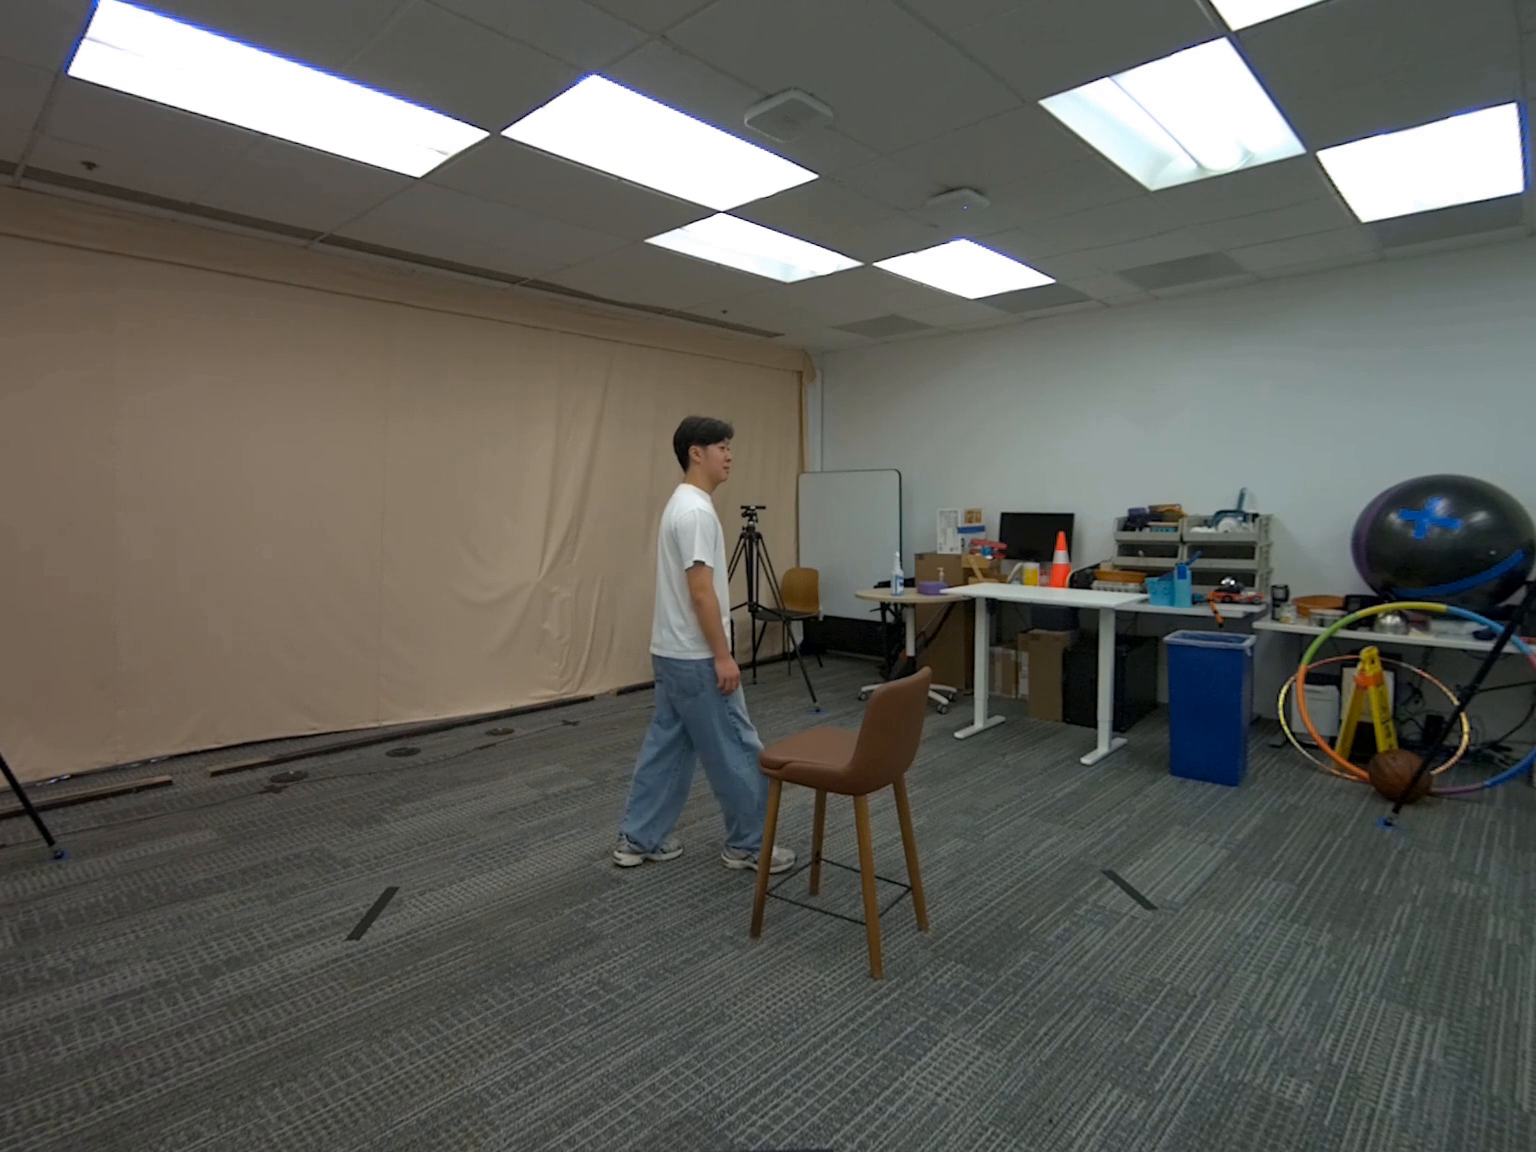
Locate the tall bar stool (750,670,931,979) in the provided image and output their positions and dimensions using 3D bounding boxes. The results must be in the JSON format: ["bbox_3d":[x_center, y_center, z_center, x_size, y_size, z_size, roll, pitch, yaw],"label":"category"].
[{"bbox_3d":[0.247,0.729,2.719,0.482,0.887,0.443,5,5,35],"label":"tall bar stool"}]
